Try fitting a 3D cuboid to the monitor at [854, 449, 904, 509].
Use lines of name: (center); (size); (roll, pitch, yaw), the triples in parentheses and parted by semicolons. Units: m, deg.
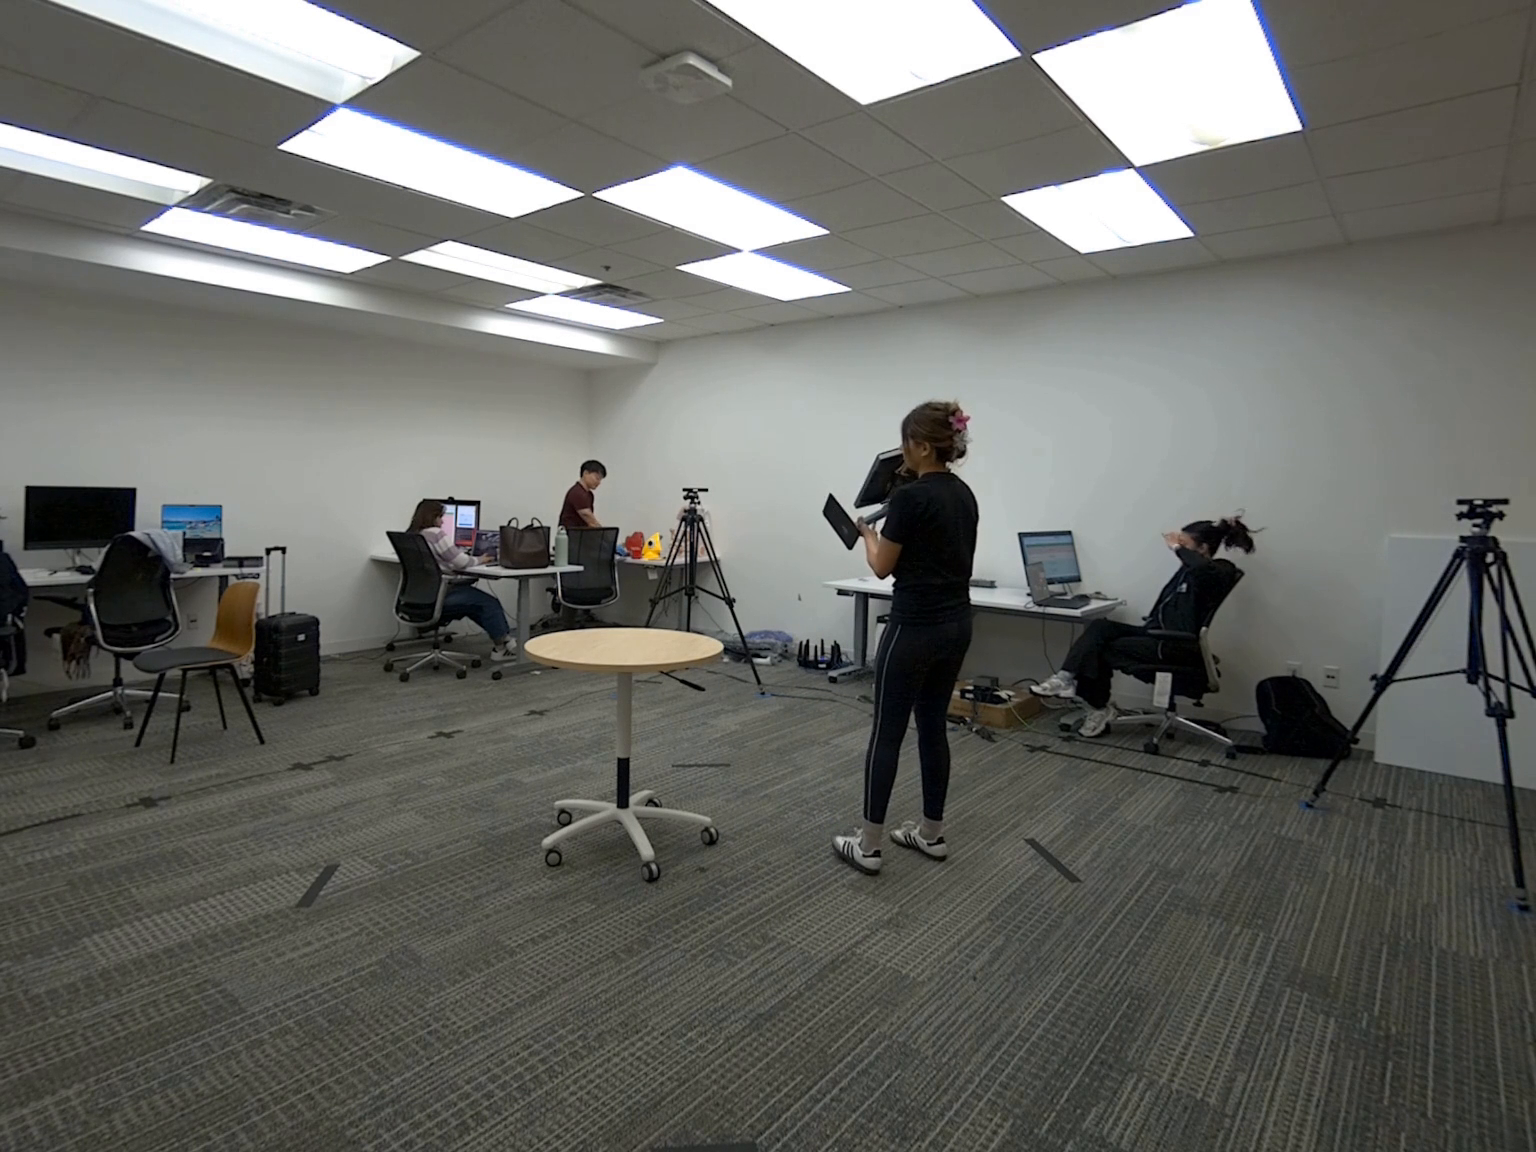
monitor: (0.502, -0.353, 3.503); (0.520, 0.190, 0.532); (-33, -11, -11)
